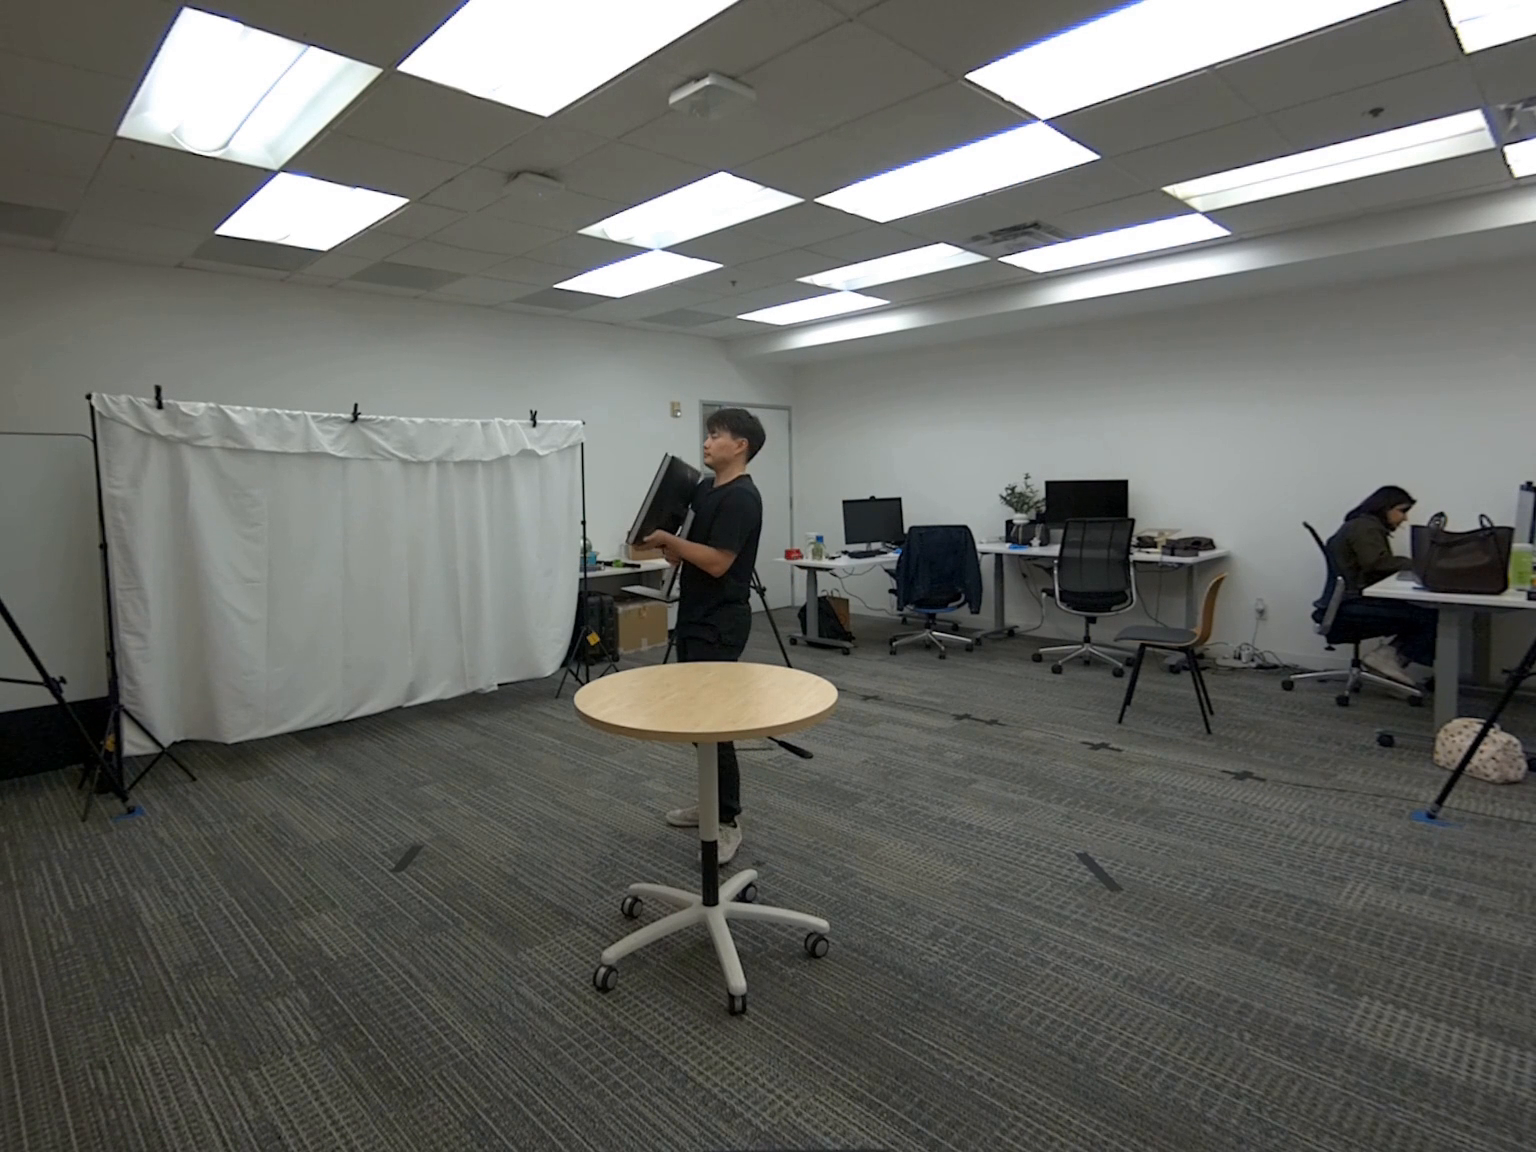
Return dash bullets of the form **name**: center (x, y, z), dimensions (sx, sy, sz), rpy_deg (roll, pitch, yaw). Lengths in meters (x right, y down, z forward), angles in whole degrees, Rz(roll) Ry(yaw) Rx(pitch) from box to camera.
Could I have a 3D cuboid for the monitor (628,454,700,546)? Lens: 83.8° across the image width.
- **monitor**: center (-0.383, -0.177, 3.354), dimensions (0.189, 0.523, 0.533), rpy_deg (13, 0, 7)
